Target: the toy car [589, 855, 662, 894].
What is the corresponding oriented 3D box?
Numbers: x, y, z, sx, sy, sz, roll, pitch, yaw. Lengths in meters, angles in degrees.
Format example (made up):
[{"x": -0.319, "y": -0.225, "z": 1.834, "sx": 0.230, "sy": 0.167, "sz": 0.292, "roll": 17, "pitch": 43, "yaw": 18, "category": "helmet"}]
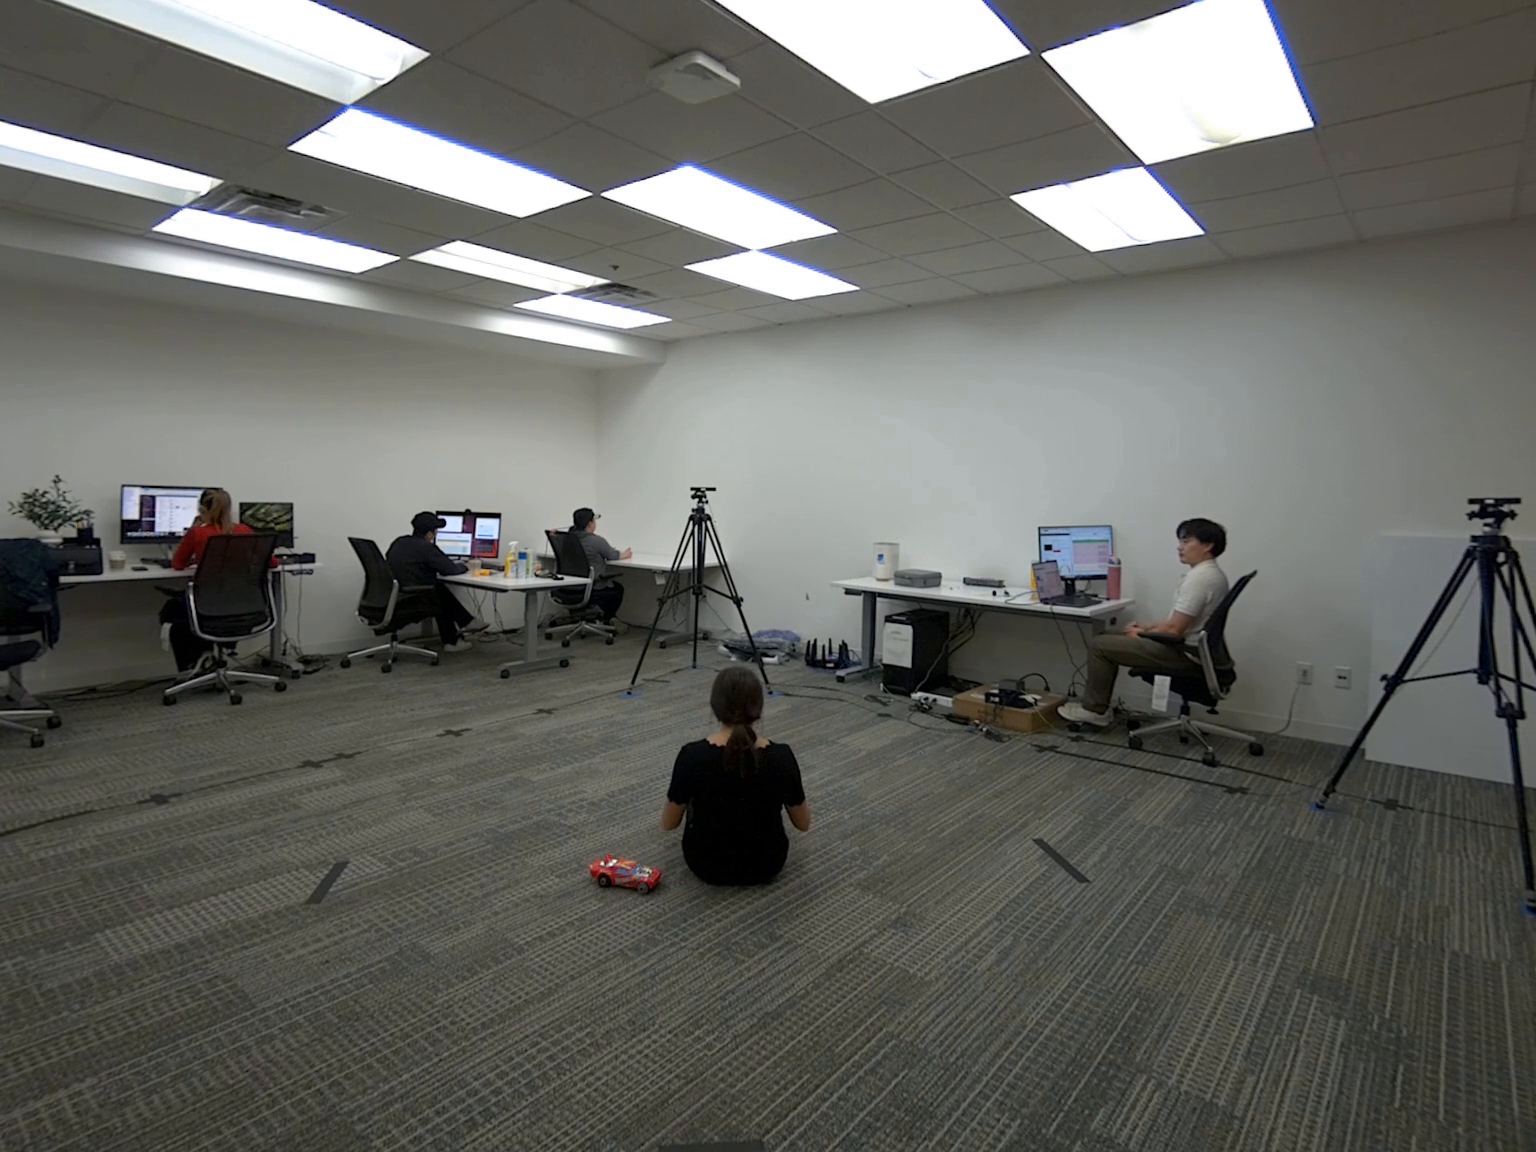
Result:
[{"x": -0.518, "y": 1.042, "z": 2.980, "sx": 0.260, "sy": 0.083, "sz": 0.128, "roll": 13, "pitch": 7, "yaw": 16, "category": "toy car"}]
